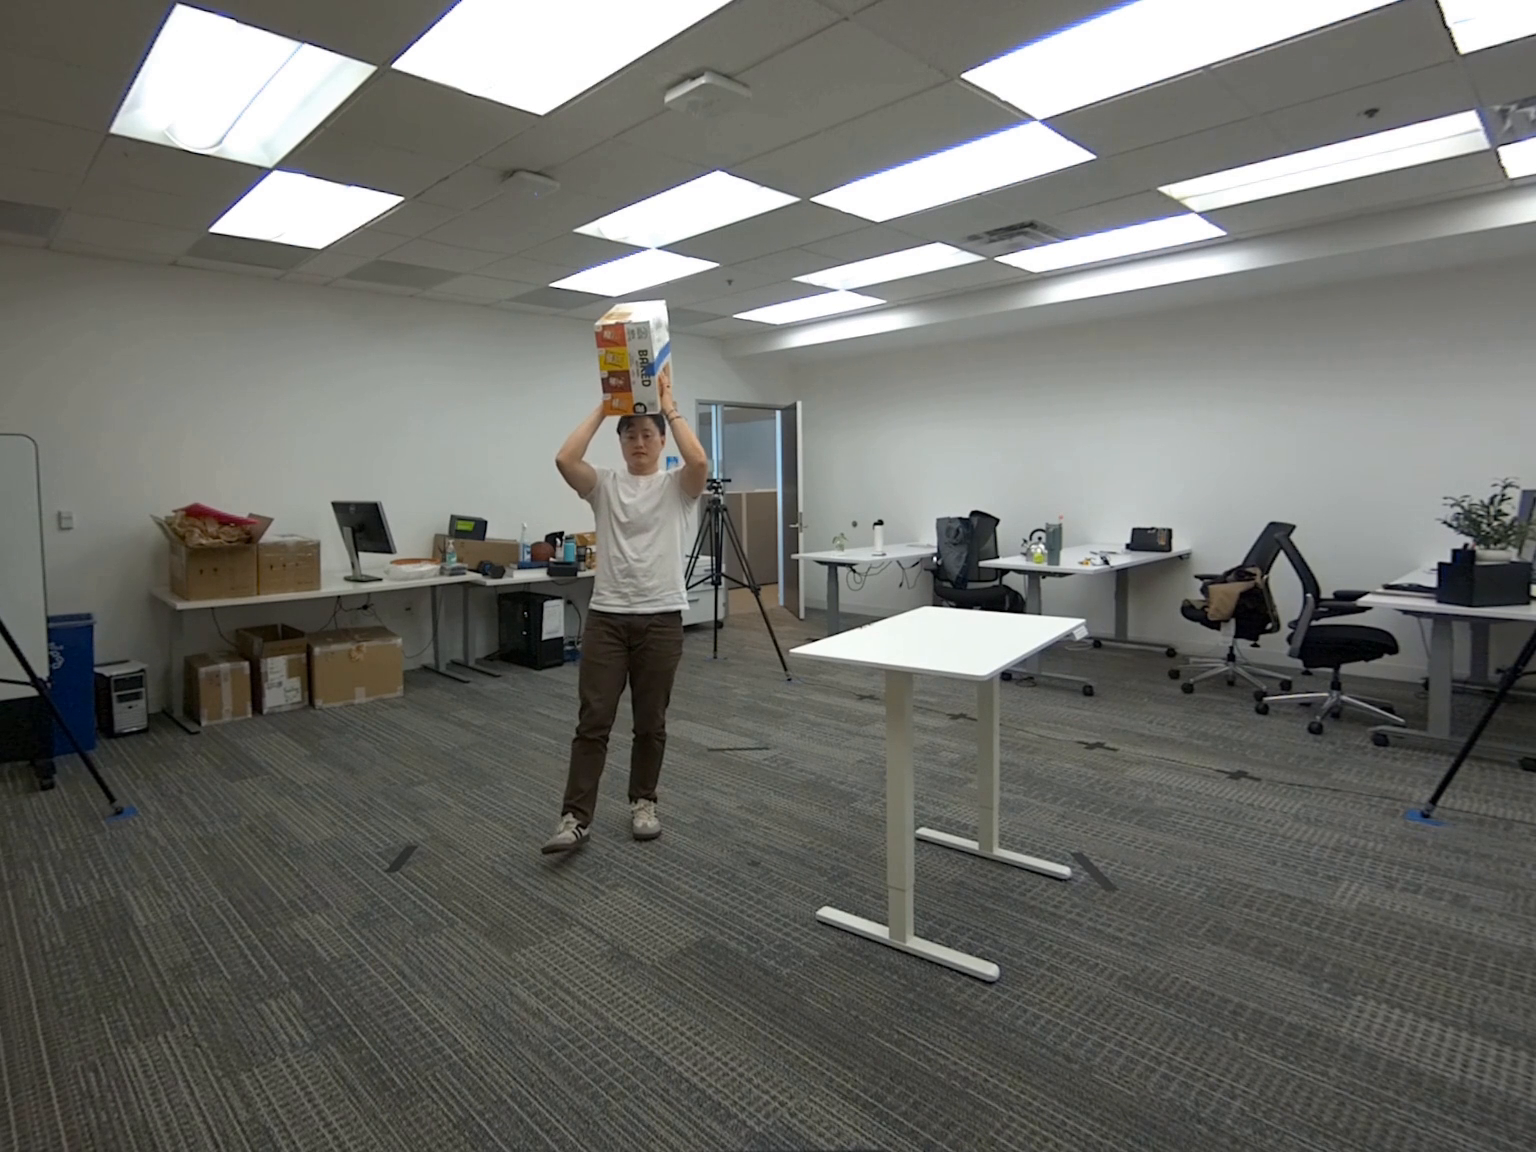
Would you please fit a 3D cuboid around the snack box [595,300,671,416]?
[{"bbox_3d":[-0.505,-0.839,3.267,0.207,0.333,0.412,-1,27,4],"label":"snack box"}]
